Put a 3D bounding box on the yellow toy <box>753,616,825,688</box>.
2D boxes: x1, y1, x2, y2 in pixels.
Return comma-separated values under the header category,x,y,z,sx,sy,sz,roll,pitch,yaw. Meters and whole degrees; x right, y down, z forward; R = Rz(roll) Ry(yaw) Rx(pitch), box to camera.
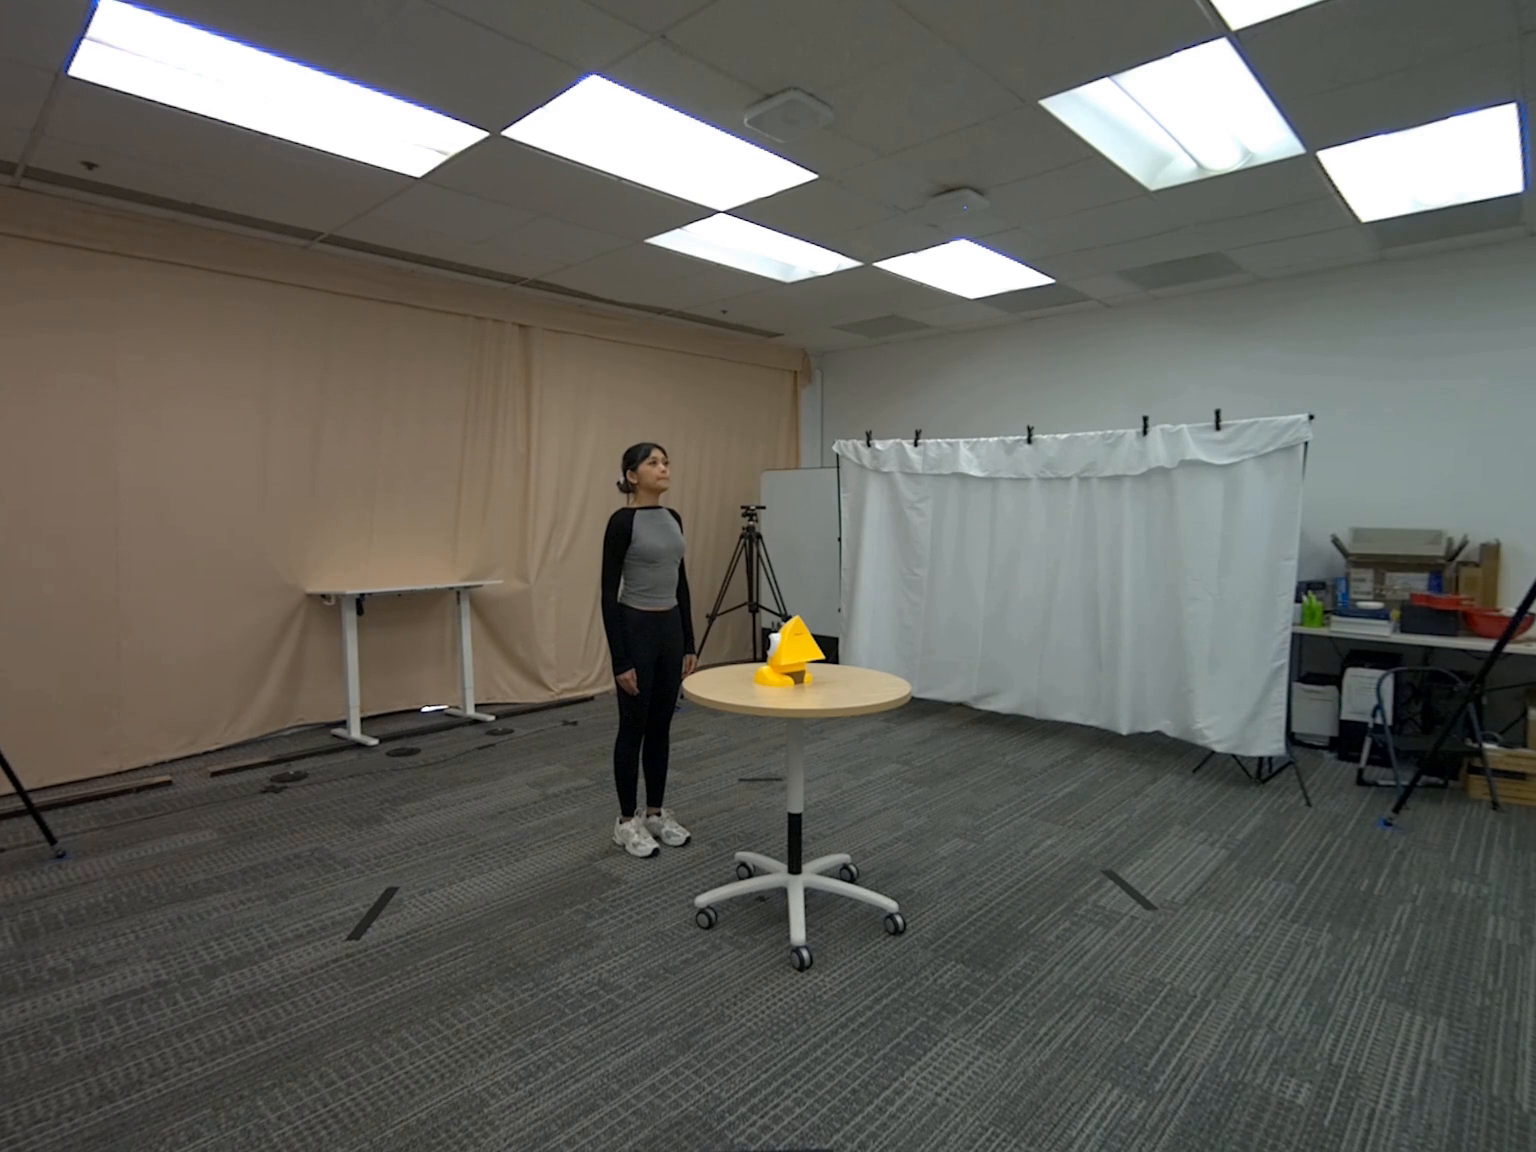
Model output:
category,x,y,z,sx,sy,sz,roll,pitch,yaw
yellow toy,0.062,0.246,2.875,0.198,0.230,0.199,-3,3,-41
